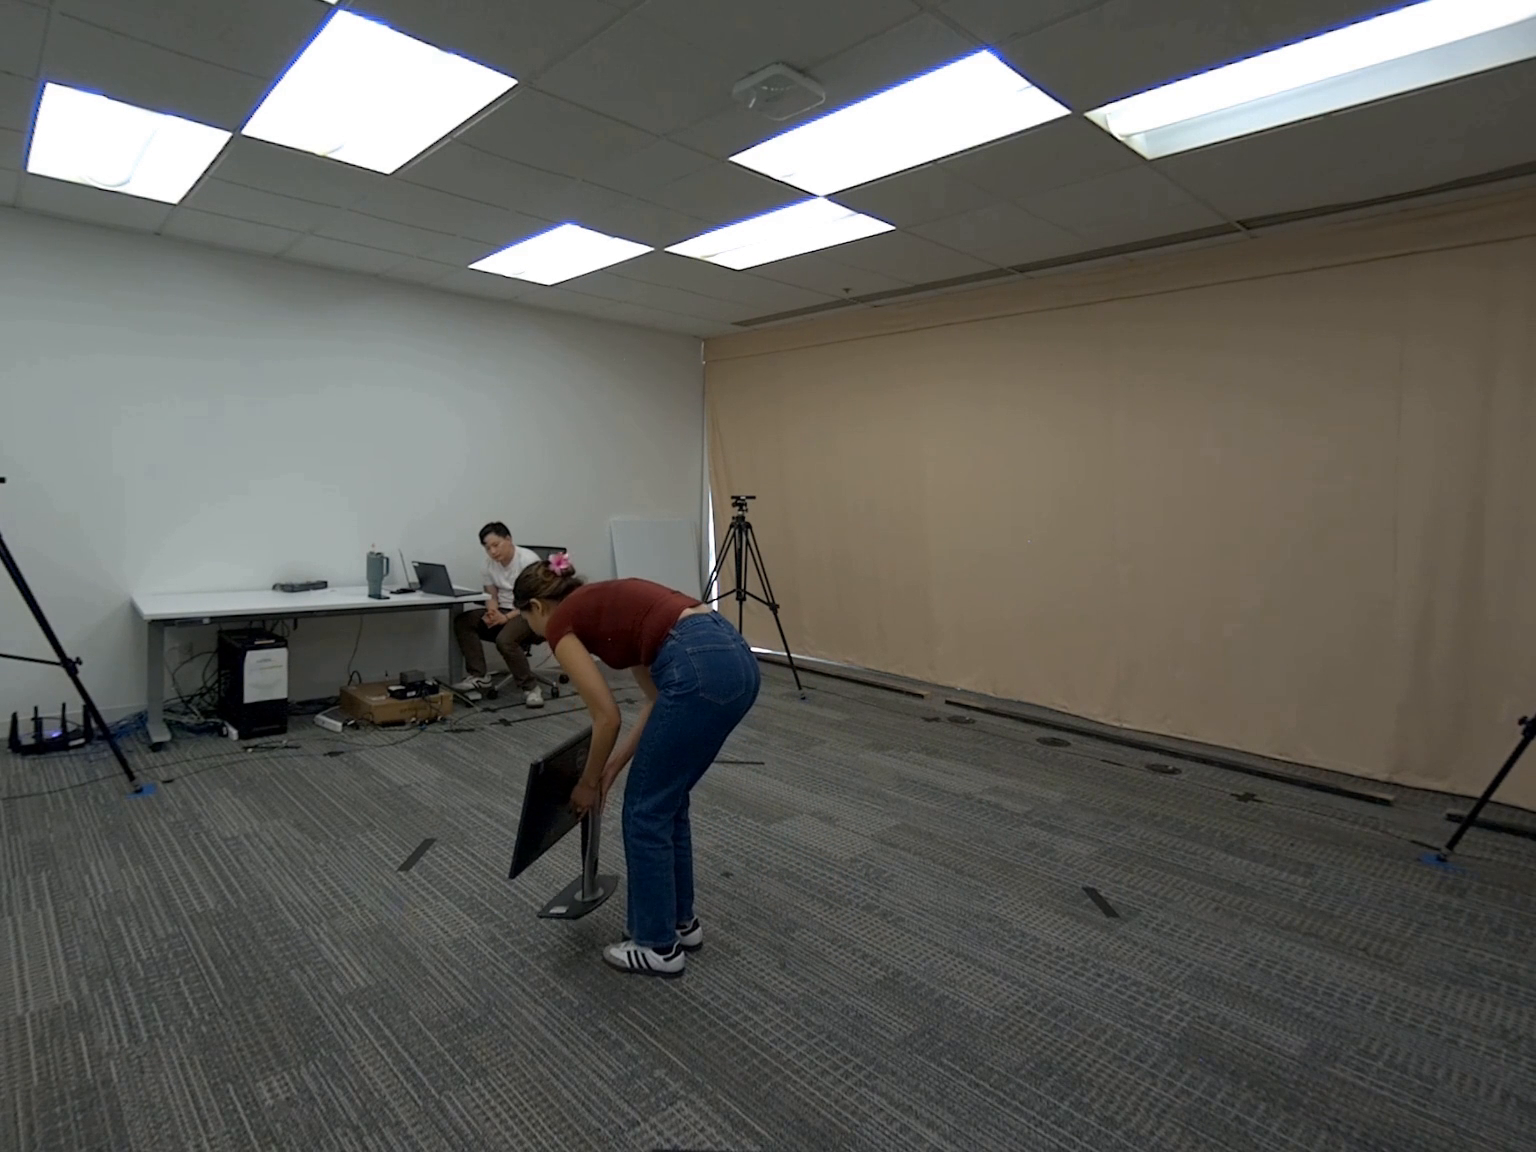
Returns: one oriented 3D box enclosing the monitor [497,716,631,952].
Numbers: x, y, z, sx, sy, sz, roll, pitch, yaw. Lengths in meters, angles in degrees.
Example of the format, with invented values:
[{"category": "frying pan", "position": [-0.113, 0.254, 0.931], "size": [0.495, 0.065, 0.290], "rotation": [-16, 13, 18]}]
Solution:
[{"category": "monitor", "position": [-0.604, 0.760, 2.621], "size": [0.189, 0.522, 0.534], "rotation": [-2, 3, 13]}]
